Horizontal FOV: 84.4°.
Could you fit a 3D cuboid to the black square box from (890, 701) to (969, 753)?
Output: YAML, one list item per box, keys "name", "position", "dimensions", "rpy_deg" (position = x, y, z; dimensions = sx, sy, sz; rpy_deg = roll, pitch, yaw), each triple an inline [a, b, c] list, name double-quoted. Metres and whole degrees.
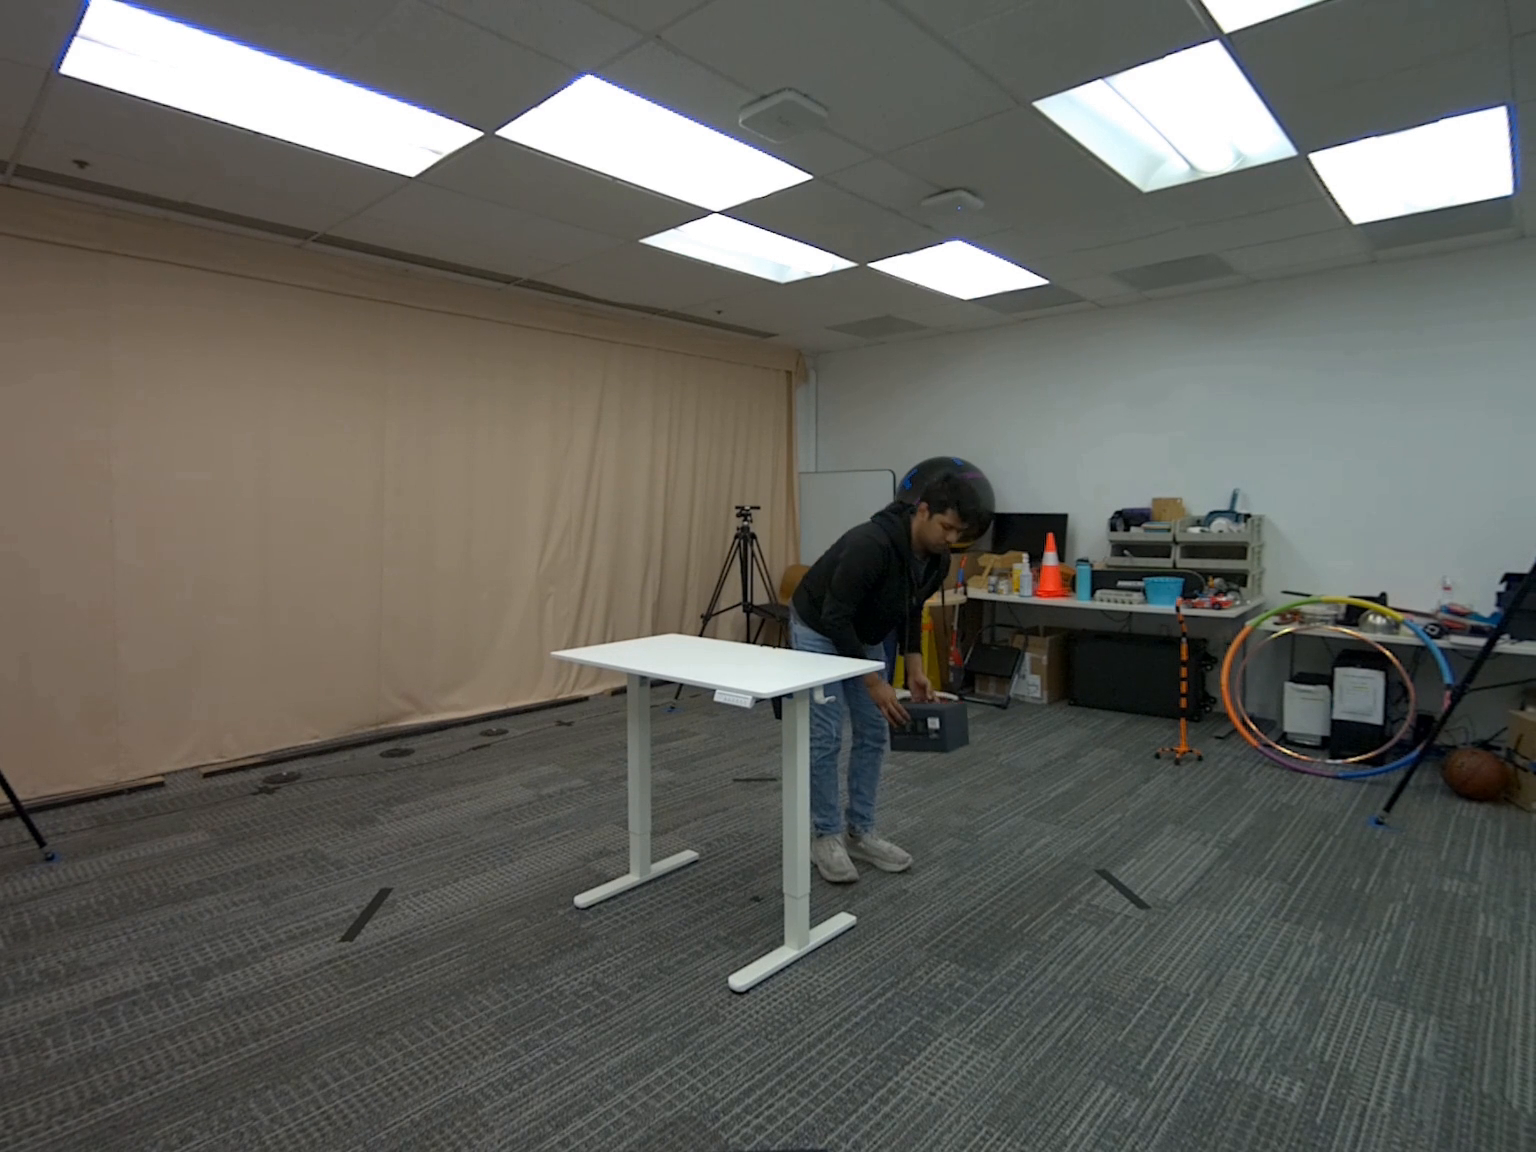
- name: "black square box"
  position: [0.594, 0.553, 3.070]
  dimensions: [0.223, 0.156, 0.221]
  rpy_deg: [-6, -4, 33]
